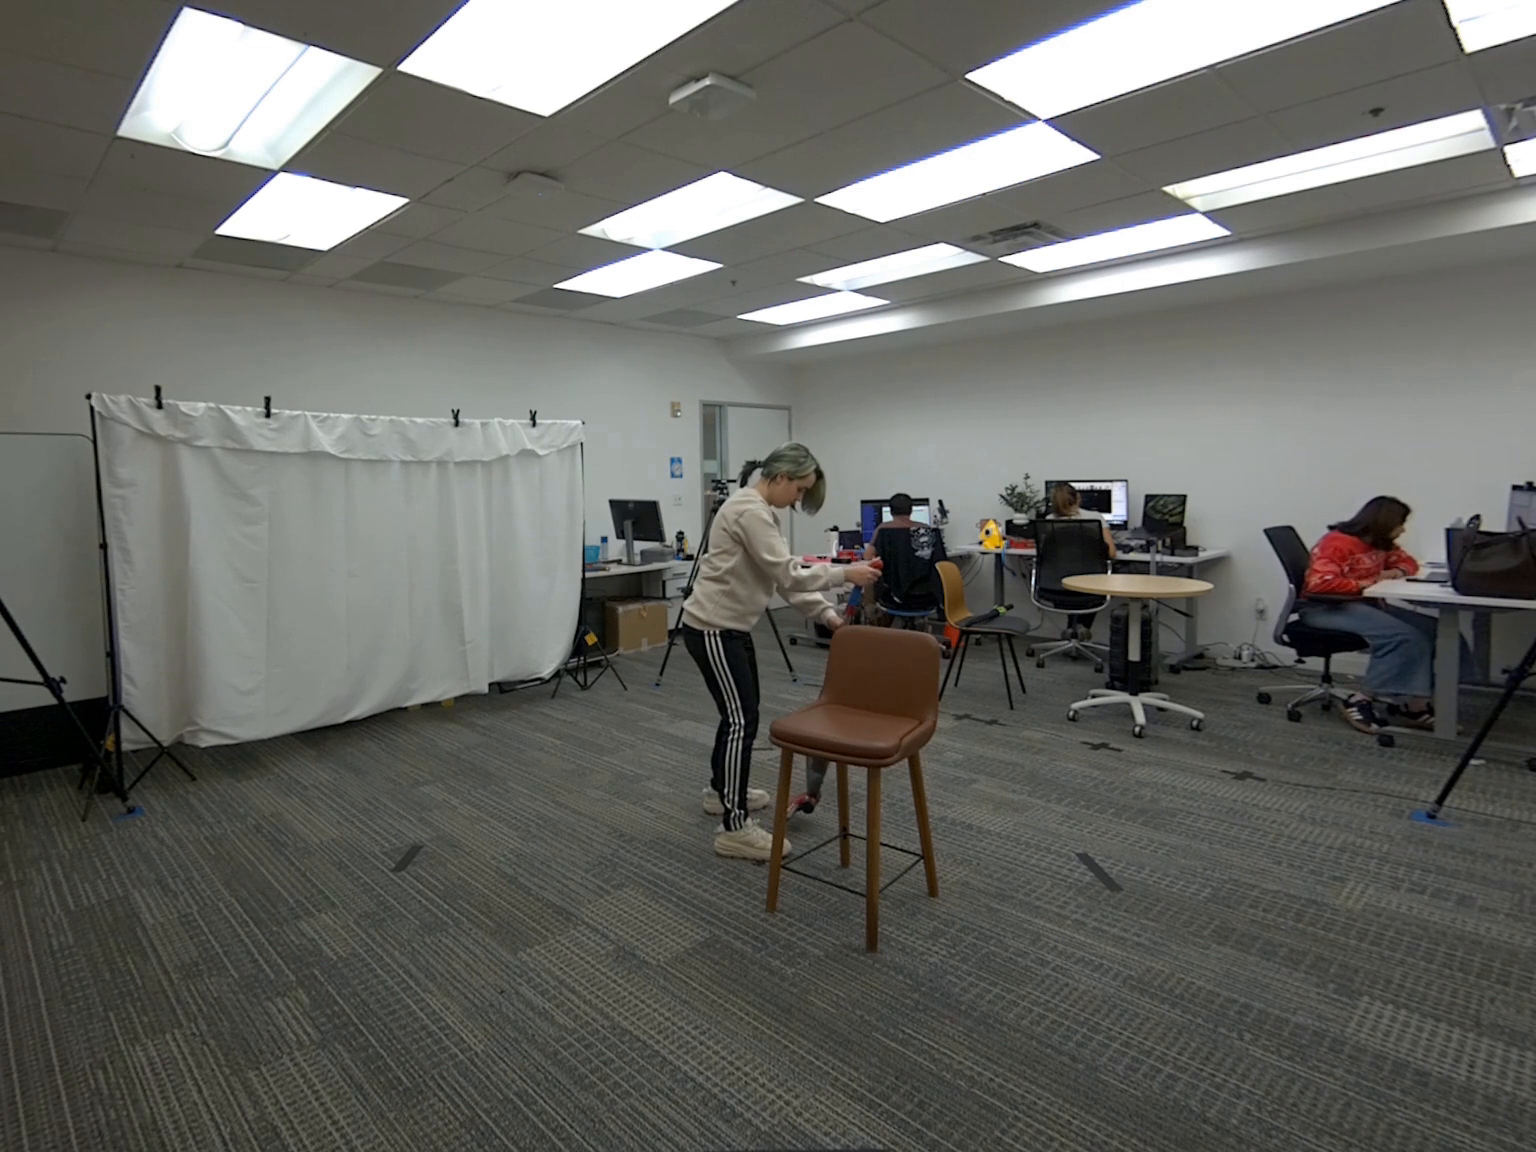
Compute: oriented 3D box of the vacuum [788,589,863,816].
[{"bbox_3d":[0.273,0.447,3.329,0.146,1.041,0.250,19,13,12],"label":"vacuum"}]
